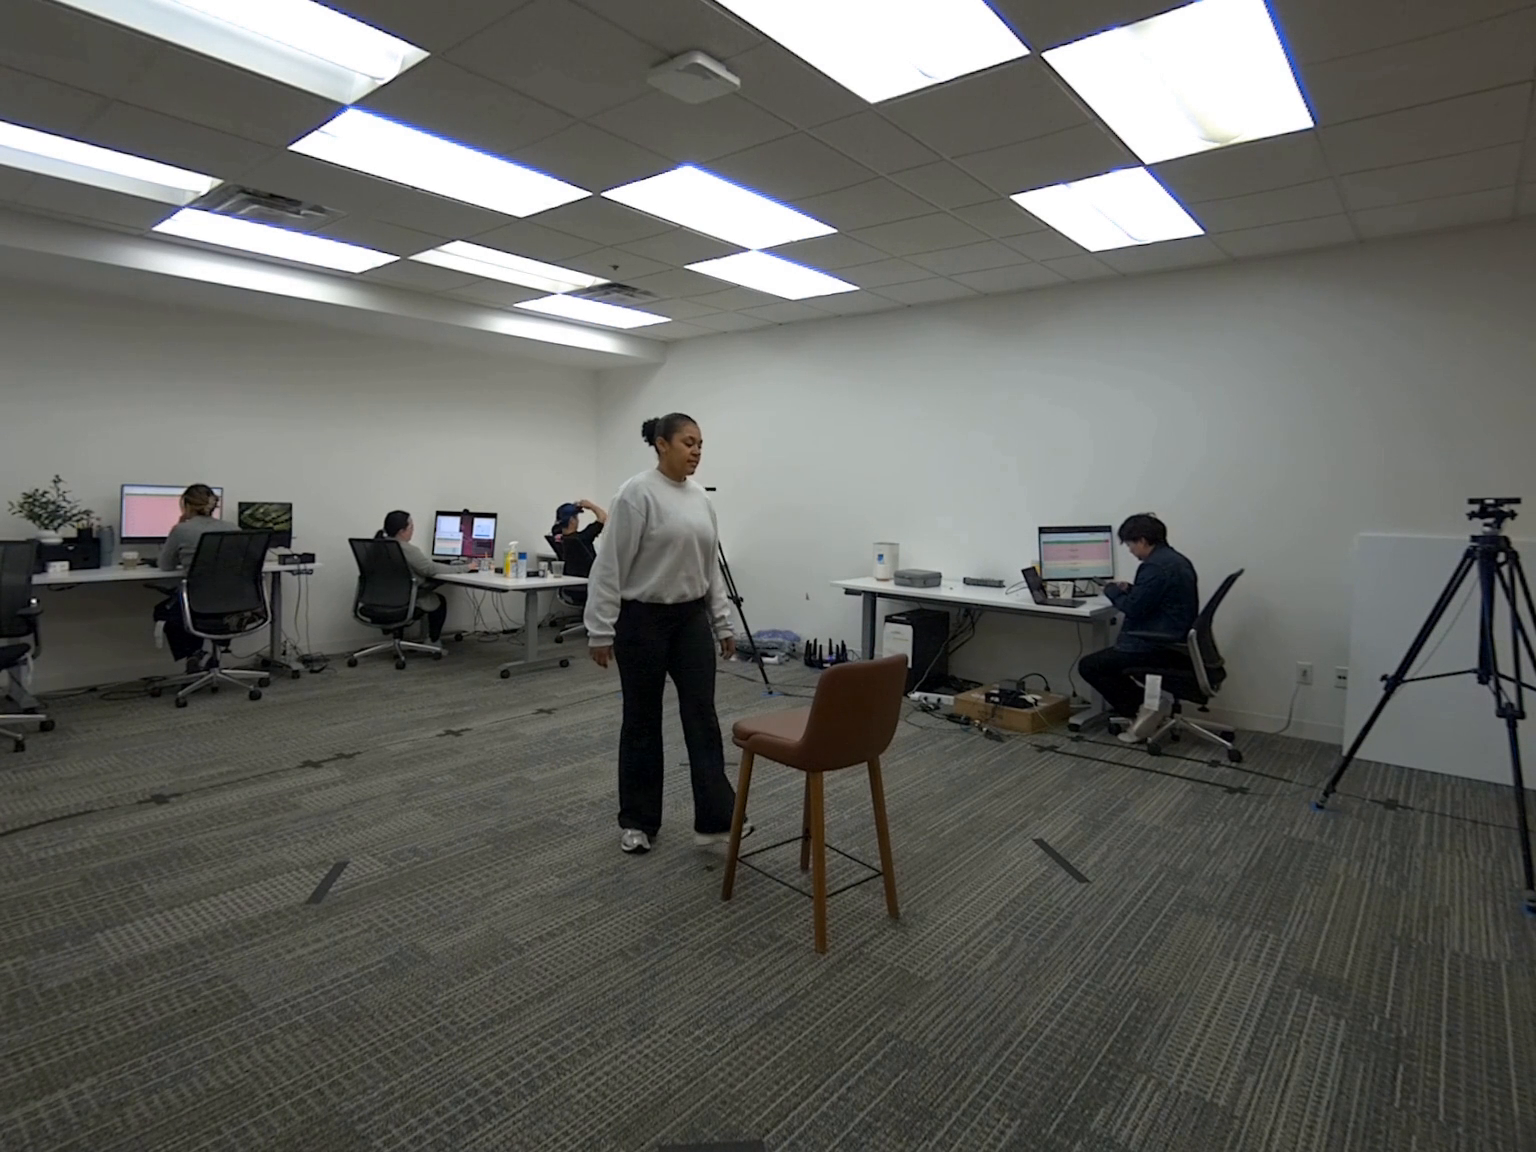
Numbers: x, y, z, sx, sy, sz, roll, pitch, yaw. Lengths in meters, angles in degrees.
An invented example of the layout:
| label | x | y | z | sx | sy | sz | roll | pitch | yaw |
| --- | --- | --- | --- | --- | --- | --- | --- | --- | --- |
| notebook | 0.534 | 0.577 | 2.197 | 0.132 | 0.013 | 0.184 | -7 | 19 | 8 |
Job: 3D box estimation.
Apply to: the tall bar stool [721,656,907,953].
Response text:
| label | x | y | z | sx | sy | sz | roll | pitch | yaw |
| --- | --- | --- | --- | --- | --- | --- | --- | --- | --- |
| tall bar stool | 0.154 | 0.667 | 2.811 | 0.442 | 0.886 | 0.484 | -1 | 6 | -42 |
